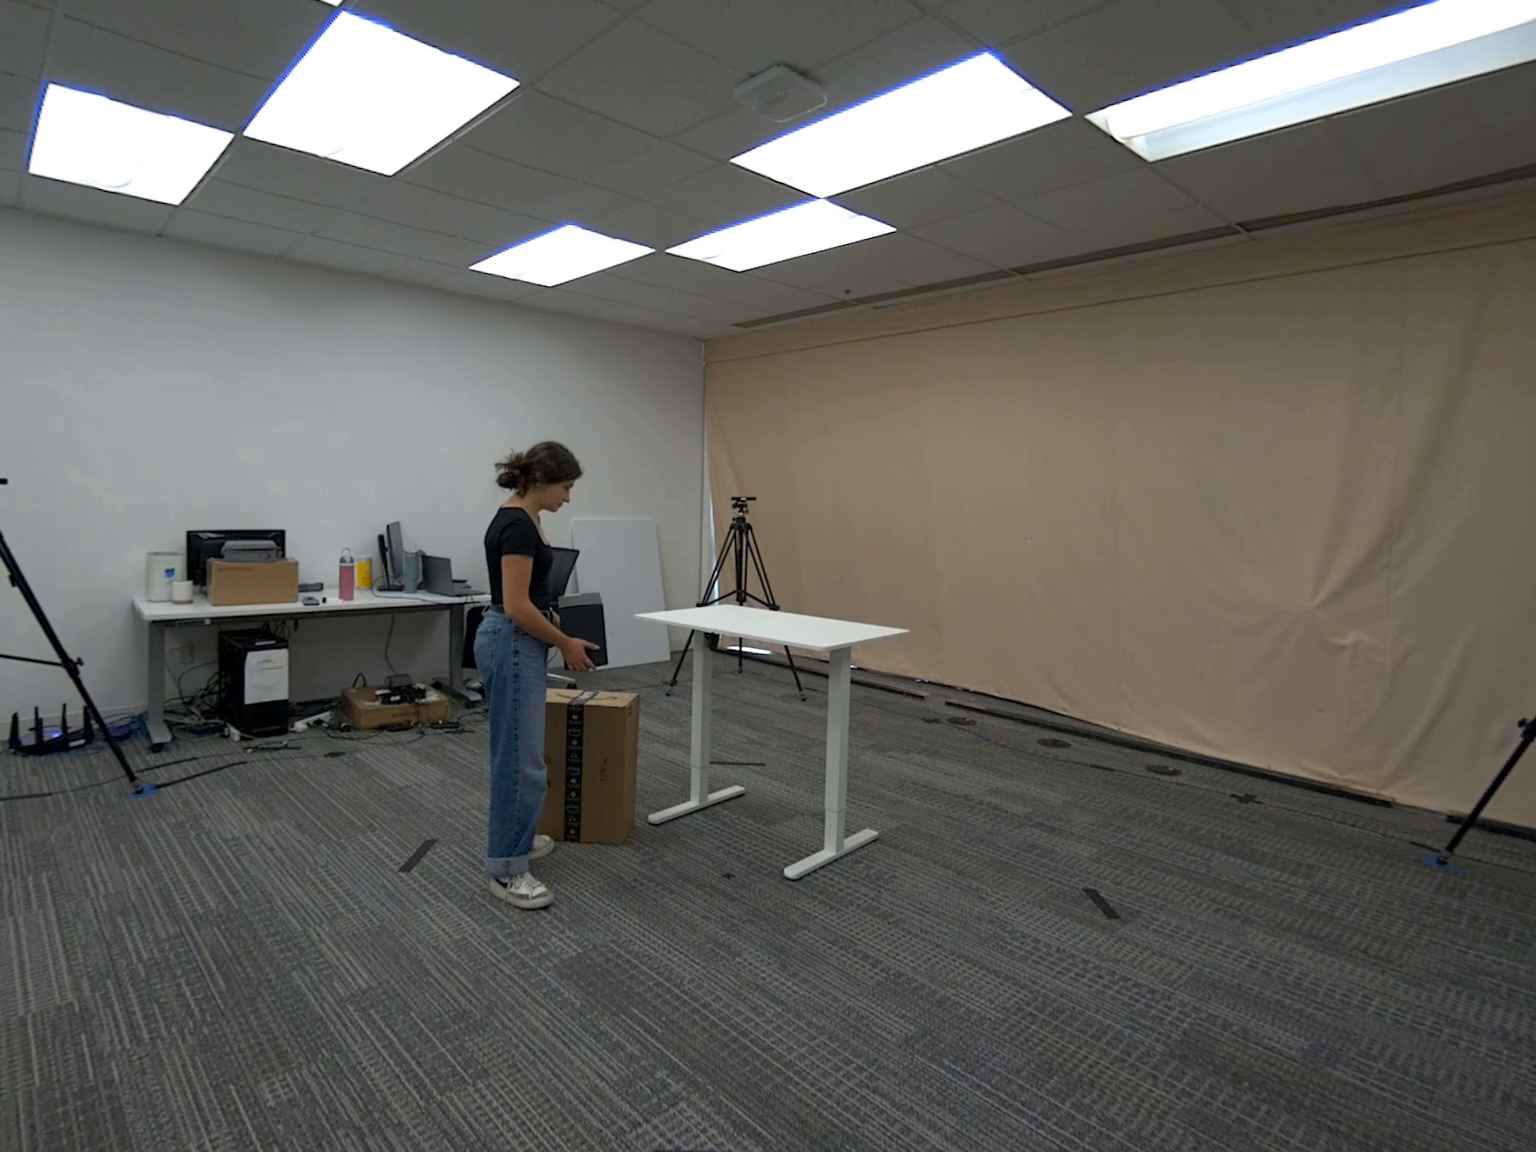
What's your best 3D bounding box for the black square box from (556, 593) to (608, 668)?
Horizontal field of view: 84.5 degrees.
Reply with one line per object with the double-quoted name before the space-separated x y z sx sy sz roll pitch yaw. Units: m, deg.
"black square box" -0.692 0.193 3.087 0.155 0.226 0.220 -3 9 -9
